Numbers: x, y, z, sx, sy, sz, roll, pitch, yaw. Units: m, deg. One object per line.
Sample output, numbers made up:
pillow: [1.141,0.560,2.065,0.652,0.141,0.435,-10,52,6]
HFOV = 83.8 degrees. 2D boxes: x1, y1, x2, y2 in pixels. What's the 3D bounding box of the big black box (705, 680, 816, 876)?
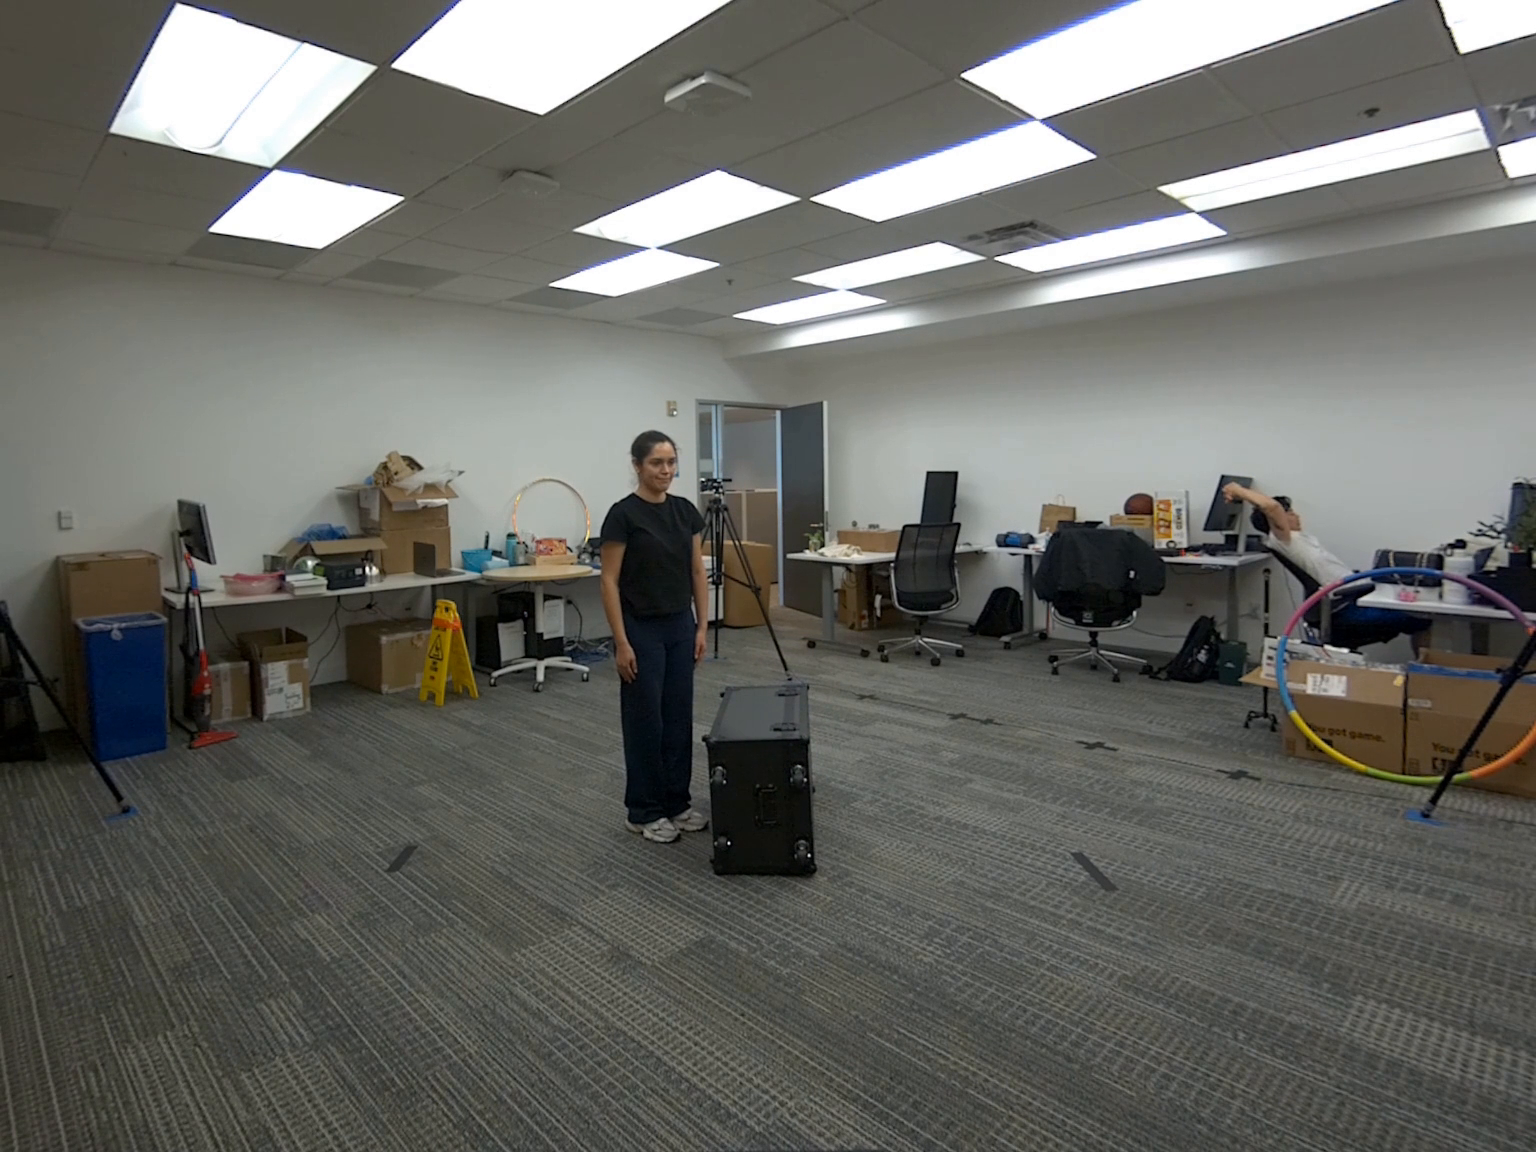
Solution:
big black box: [-0.024,0.760,3.354,0.398,0.519,0.862,-3,5,3]
